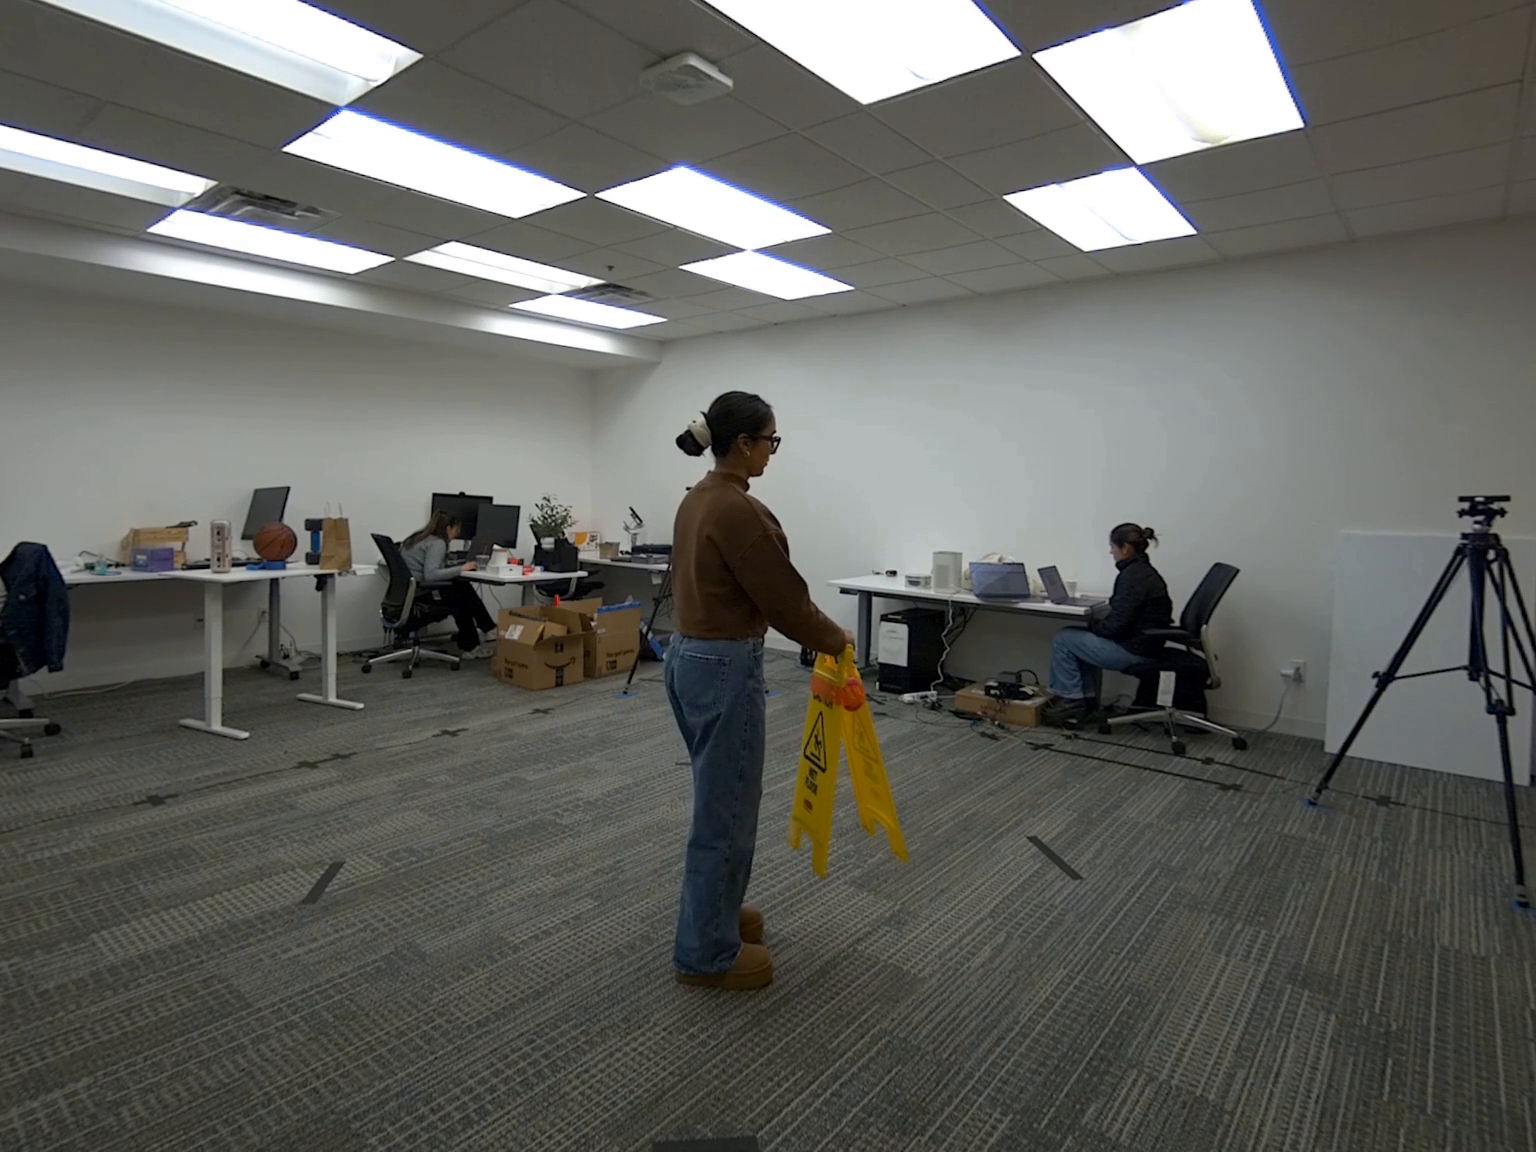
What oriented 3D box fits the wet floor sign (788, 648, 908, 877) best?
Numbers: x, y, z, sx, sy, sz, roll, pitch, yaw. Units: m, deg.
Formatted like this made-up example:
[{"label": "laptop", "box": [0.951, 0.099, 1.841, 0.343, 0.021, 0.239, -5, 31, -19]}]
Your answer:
[{"label": "wet floor sign", "box": [0.212, 0.513, 2.544, 0.285, 0.644, 0.288, -3, 4, -17]}]
